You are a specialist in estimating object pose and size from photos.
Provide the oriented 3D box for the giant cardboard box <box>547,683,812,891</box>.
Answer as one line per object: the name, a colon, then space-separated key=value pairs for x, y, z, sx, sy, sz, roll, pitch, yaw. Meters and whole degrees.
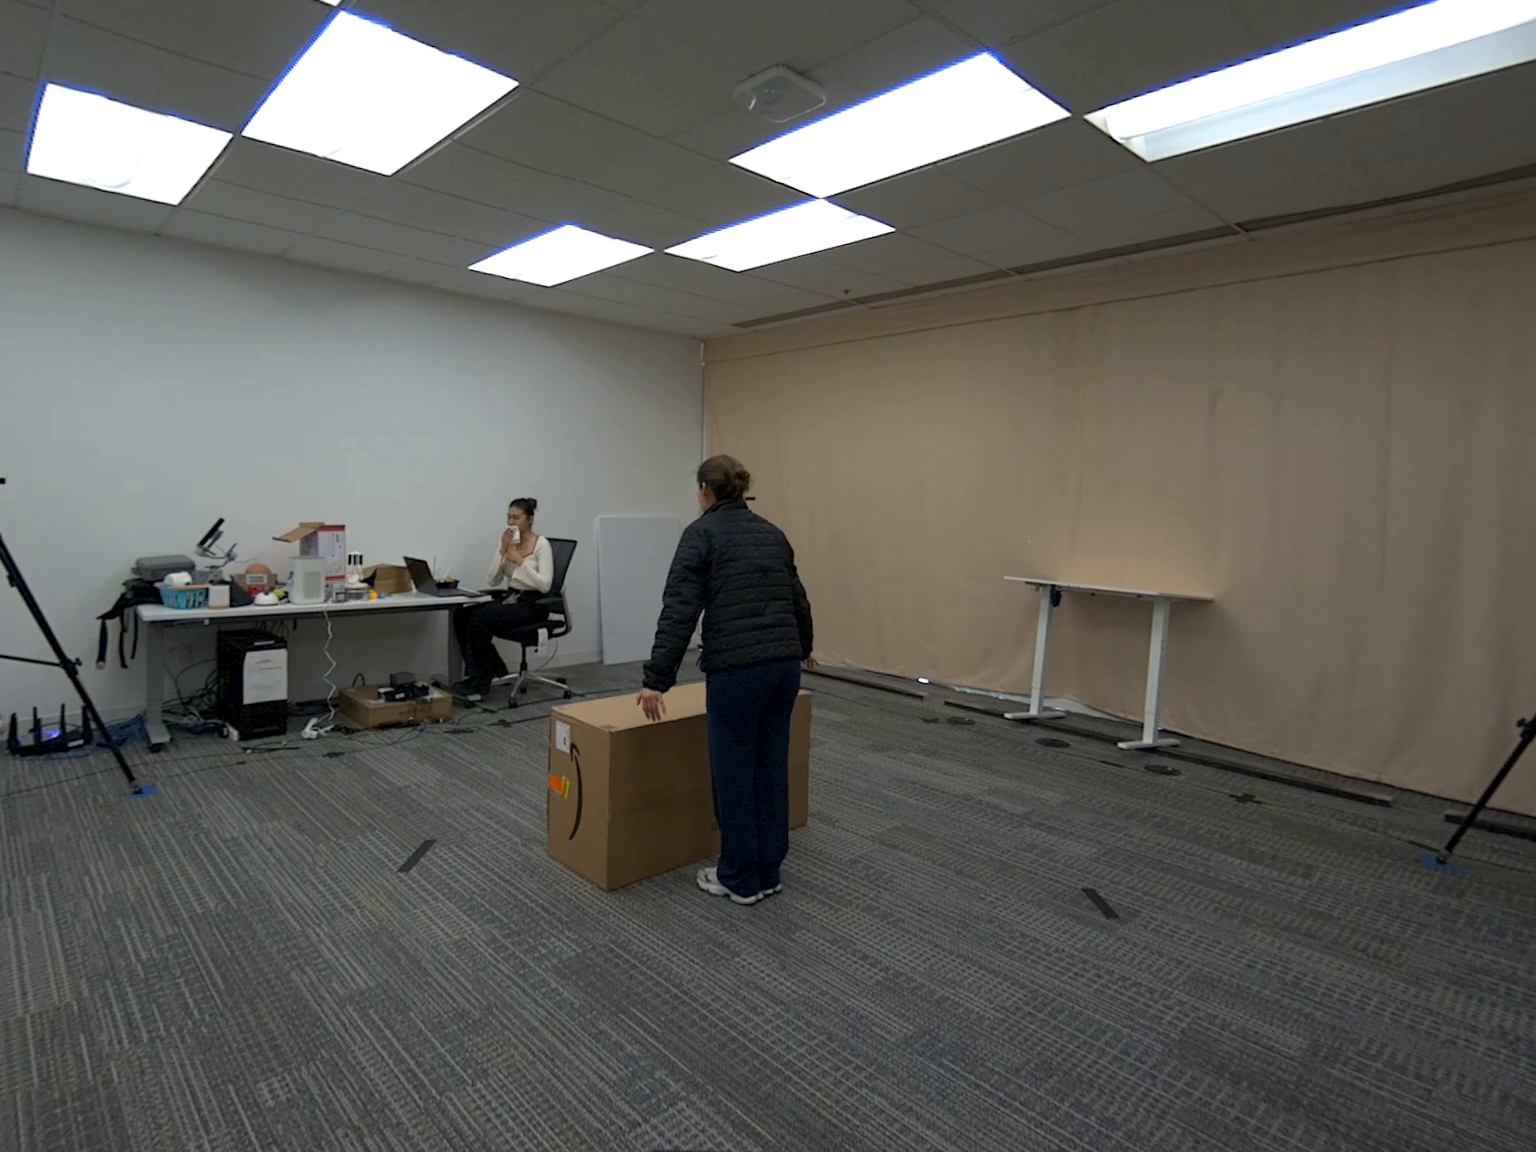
giant cardboard box: x=-0.341 y=0.789 z=3.419 sx=1.003 sy=0.582 sz=0.458 roll=-2 pitch=7 yaw=-42
